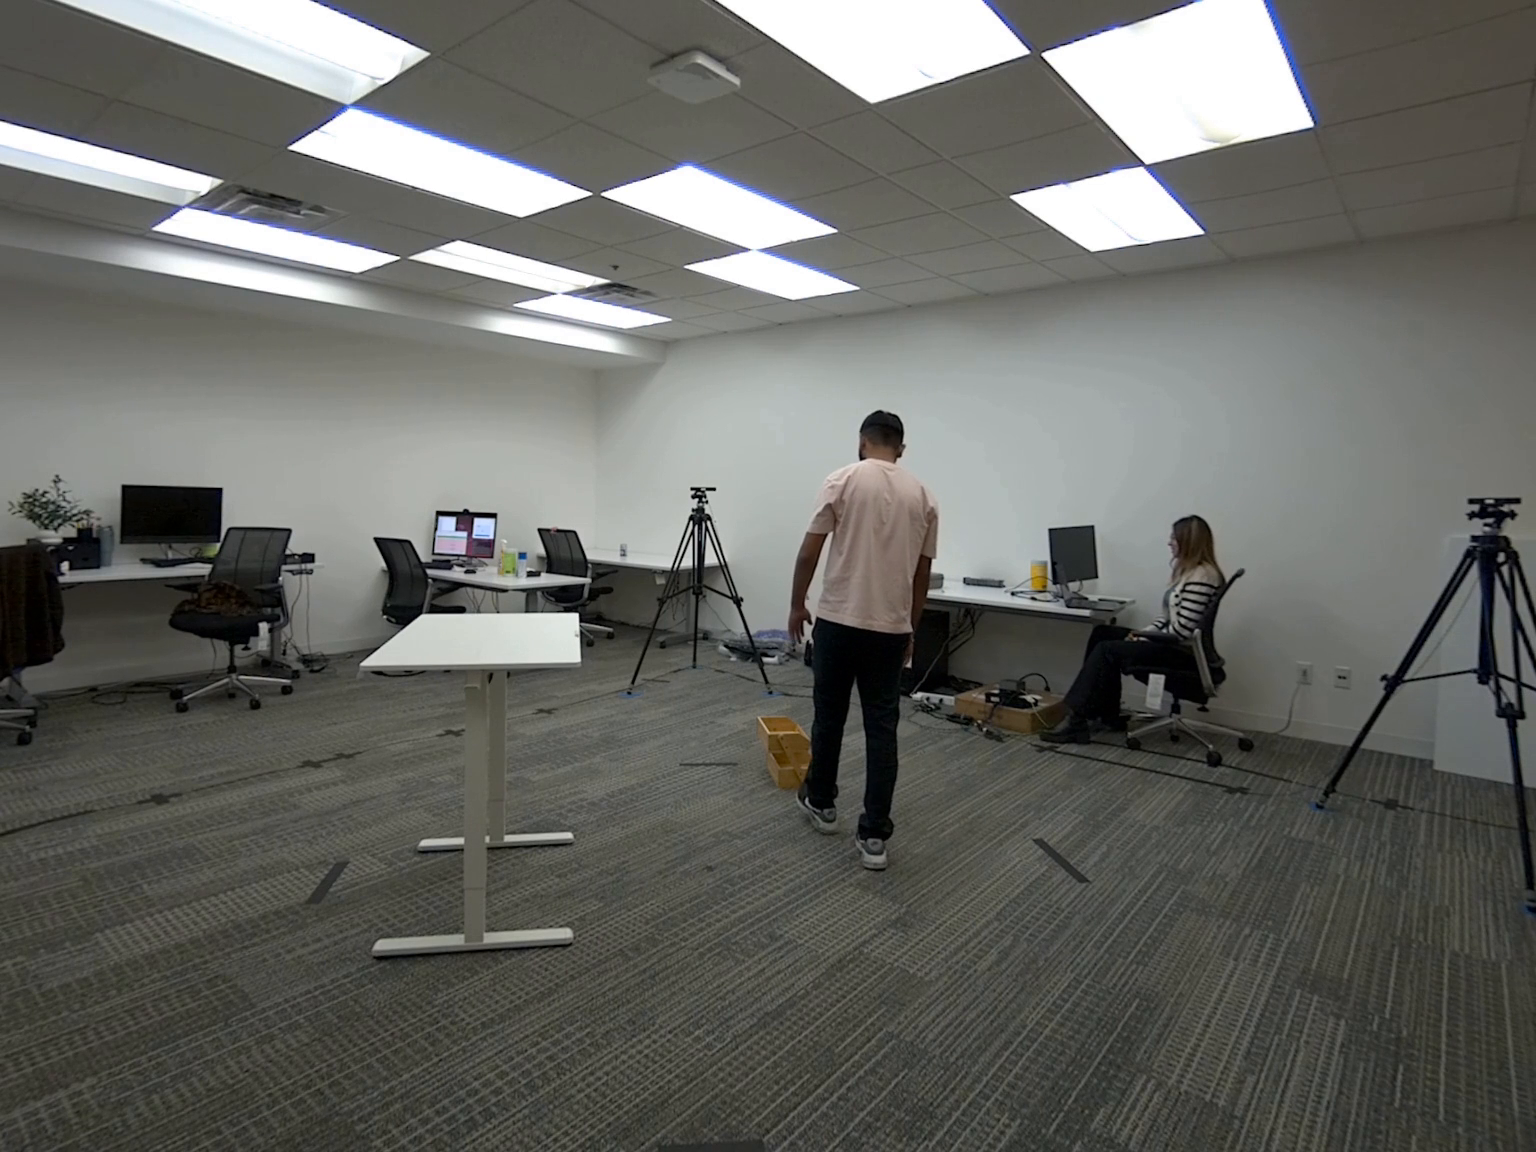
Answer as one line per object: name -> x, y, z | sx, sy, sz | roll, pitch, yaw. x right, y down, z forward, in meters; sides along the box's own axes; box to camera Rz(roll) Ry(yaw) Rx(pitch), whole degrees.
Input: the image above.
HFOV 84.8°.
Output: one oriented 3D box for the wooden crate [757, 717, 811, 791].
wooden crate -> 0.117, 0.842, 4.124 | 0.299, 0.272, 0.329 | -1, 4, -9
